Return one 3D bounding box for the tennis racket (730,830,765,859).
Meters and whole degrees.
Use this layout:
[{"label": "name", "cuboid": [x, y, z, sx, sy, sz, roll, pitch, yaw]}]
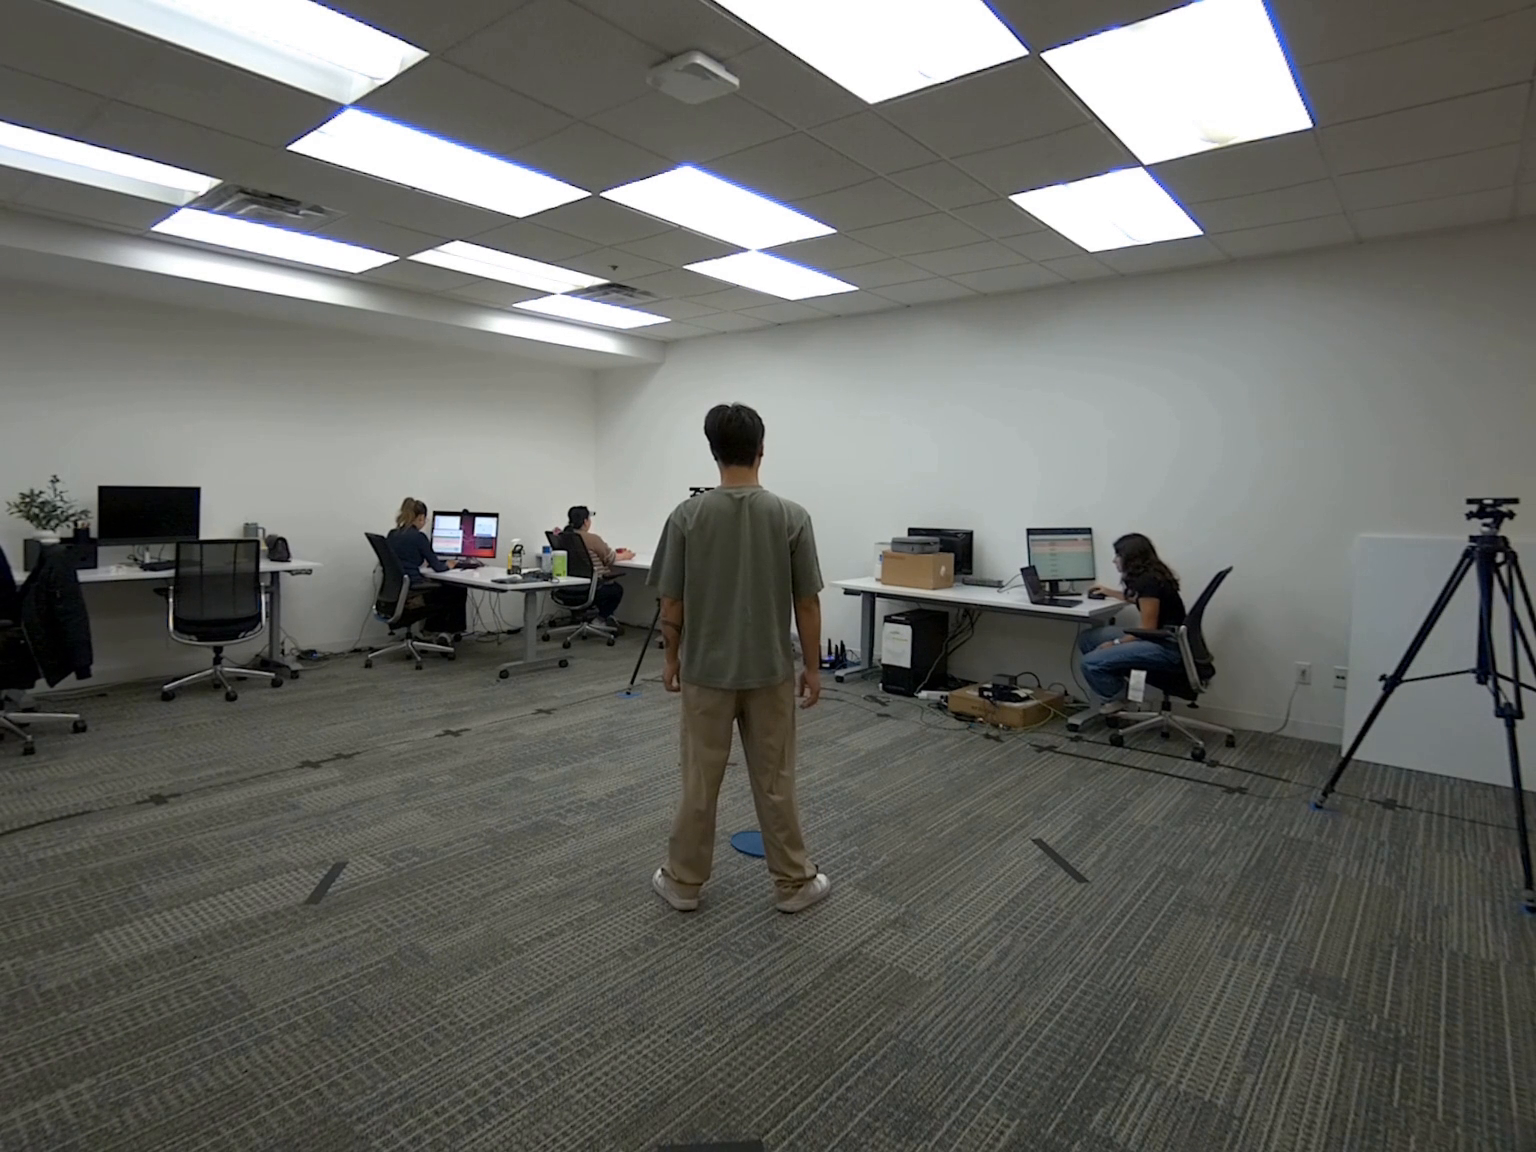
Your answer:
[{"label": "tennis racket", "cuboid": [0.009, 1.045, 3.251, 0.207, 0.031, 0.447, -4, 6, -38]}]
